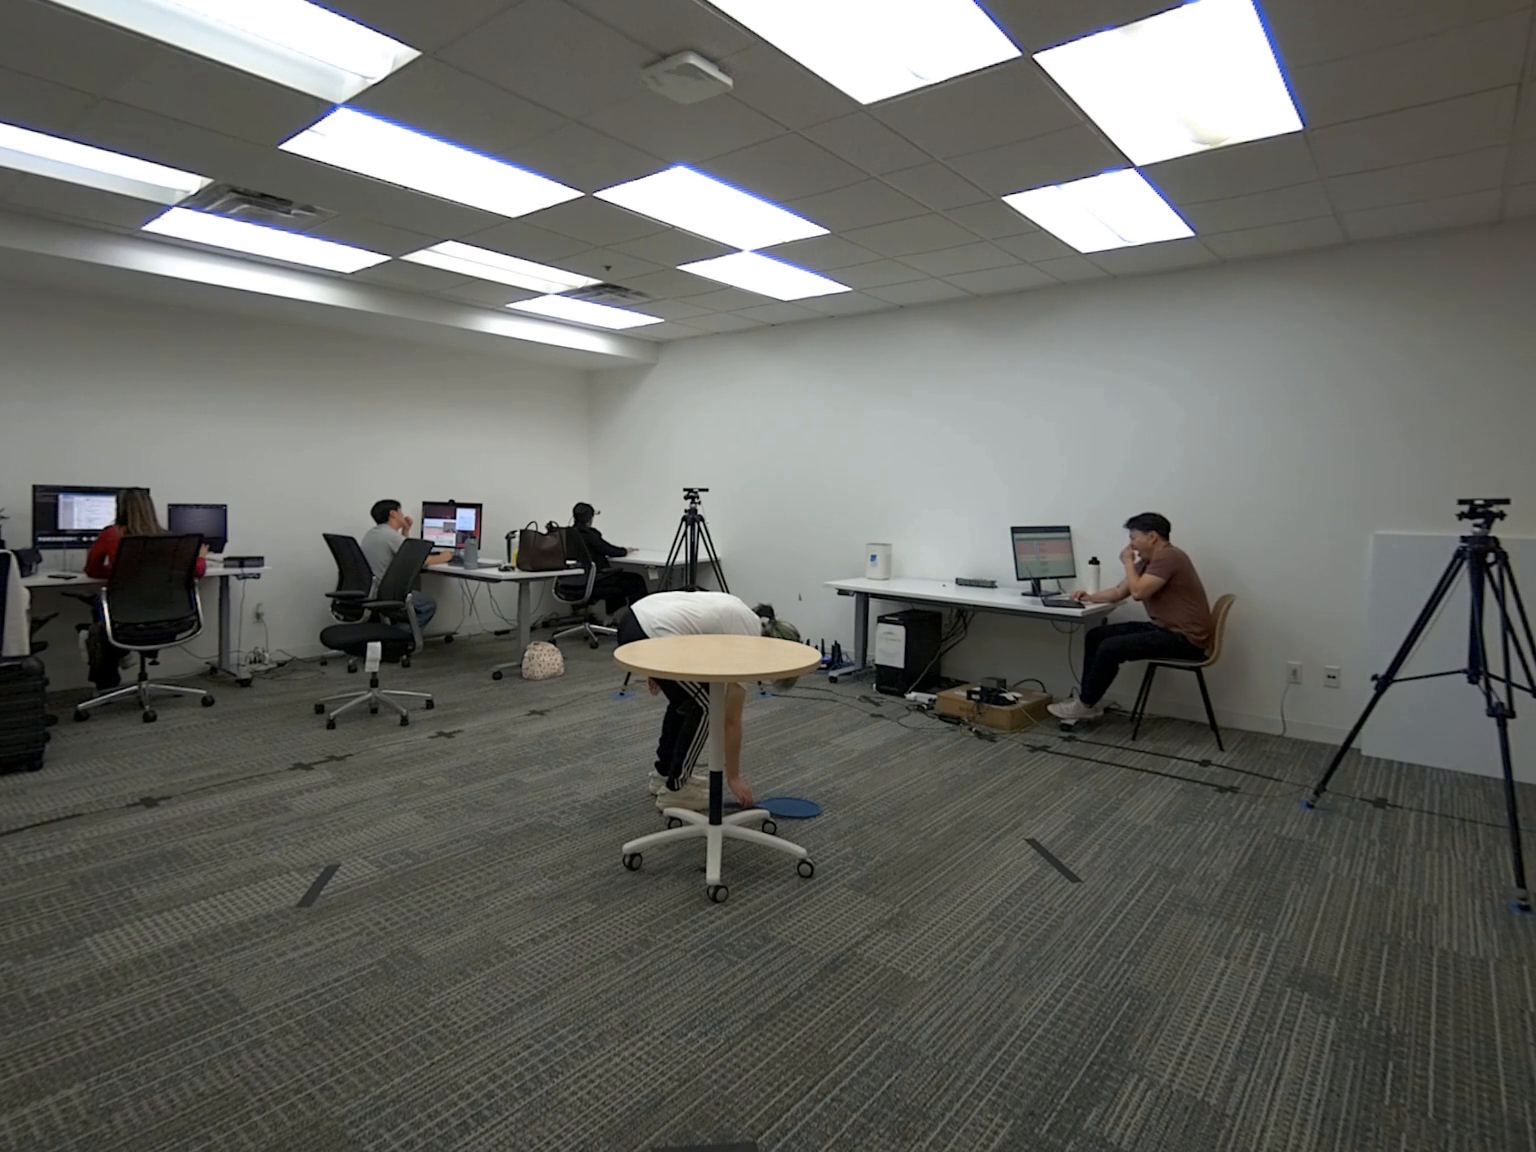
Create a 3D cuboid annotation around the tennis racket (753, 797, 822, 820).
[{"bbox_3d":[0.010,0.993,3.689,0.429,0.031,0.217,4,7,-8],"label":"tennis racket"}]
